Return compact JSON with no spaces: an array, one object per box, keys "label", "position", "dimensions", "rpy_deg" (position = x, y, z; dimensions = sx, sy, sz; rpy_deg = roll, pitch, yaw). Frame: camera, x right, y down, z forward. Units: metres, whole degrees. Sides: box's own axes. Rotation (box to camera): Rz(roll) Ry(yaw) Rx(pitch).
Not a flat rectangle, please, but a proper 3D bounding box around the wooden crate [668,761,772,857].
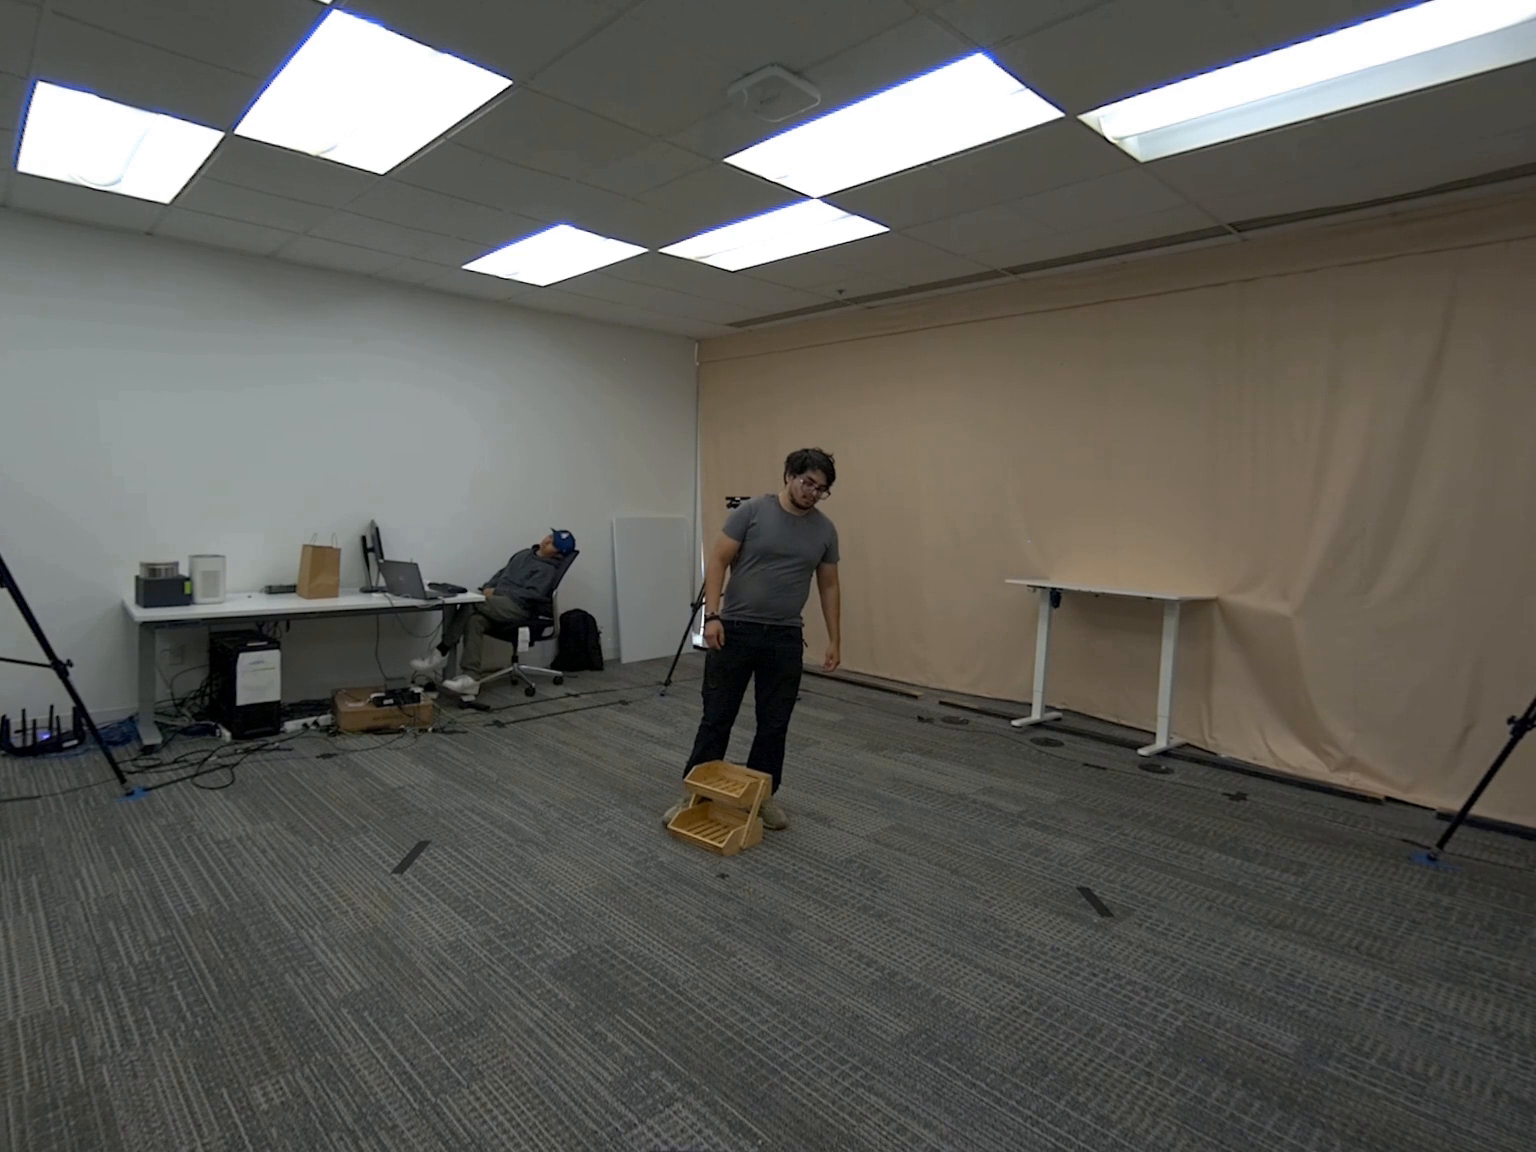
[{"label":"wooden crate","position":[-0.209,0.944,3.444],"dimensions":[0.332,0.273,0.295],"rpy_deg":[4,3,38]}]
